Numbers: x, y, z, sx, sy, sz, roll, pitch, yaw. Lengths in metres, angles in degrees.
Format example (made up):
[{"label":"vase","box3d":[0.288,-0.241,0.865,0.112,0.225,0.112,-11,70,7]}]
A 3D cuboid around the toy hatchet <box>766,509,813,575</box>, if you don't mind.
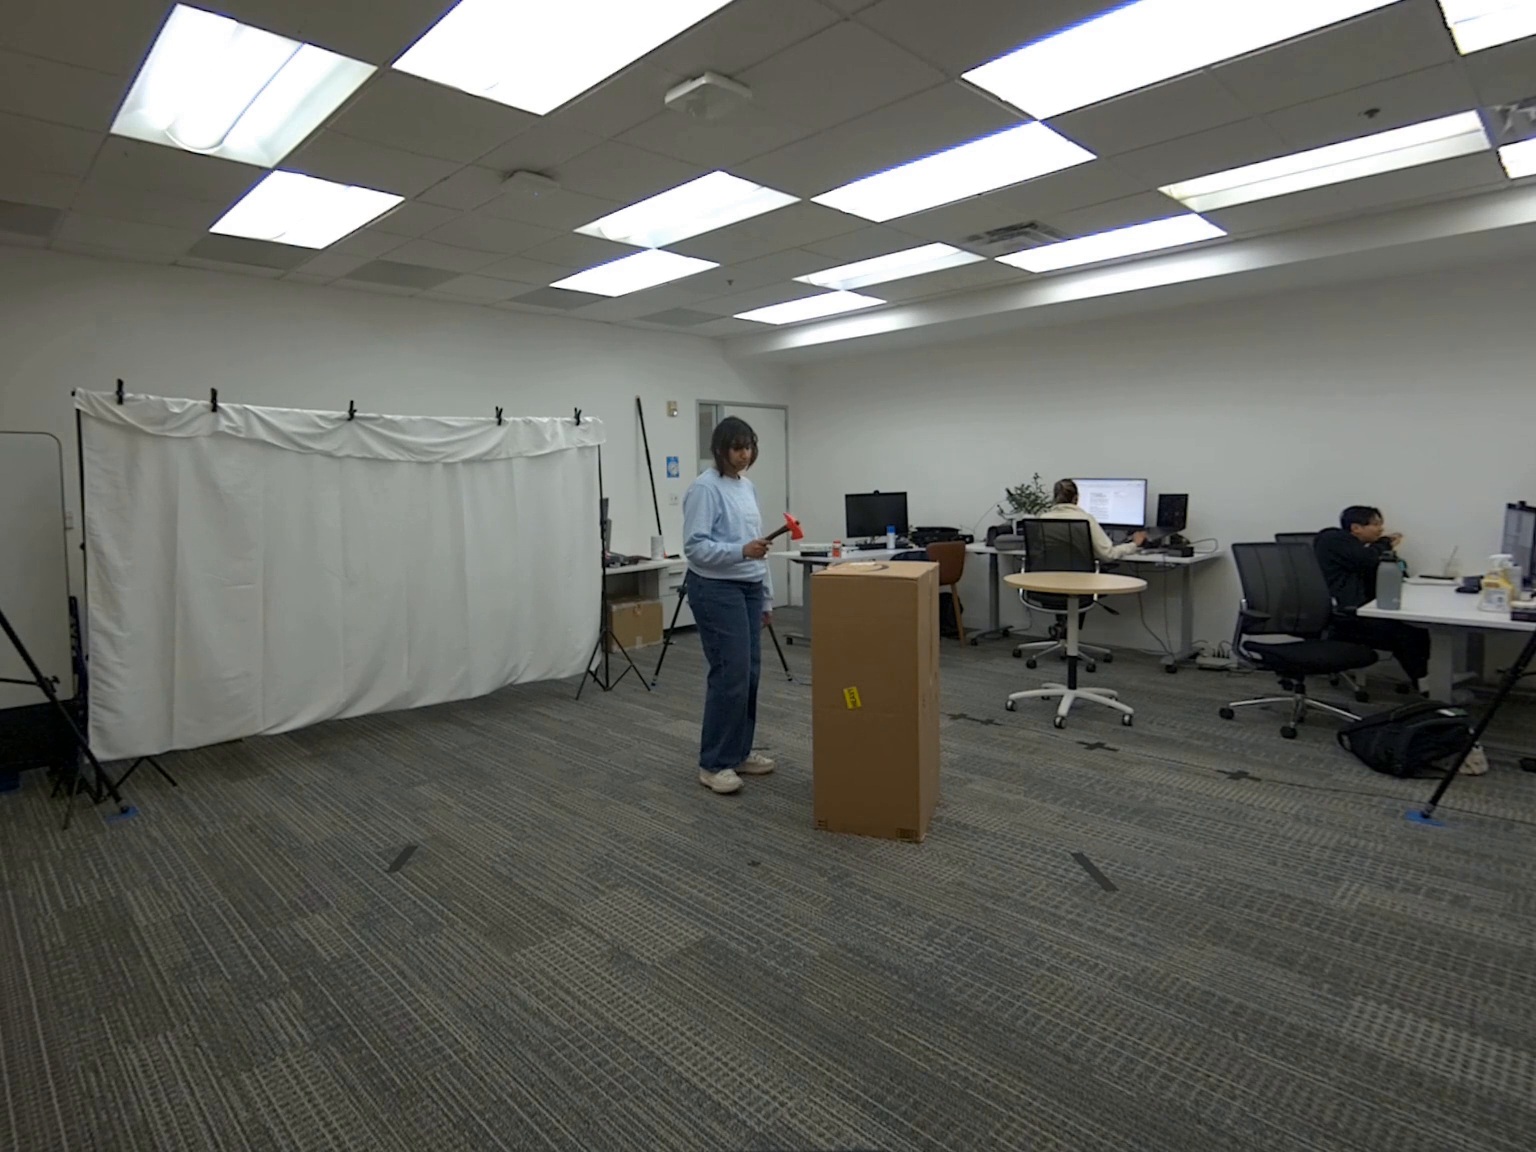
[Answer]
[{"label":"toy hatchet","box3d":[0.057,-0.146,3.672,0.131,0.269,0.029,39,29,0]}]
